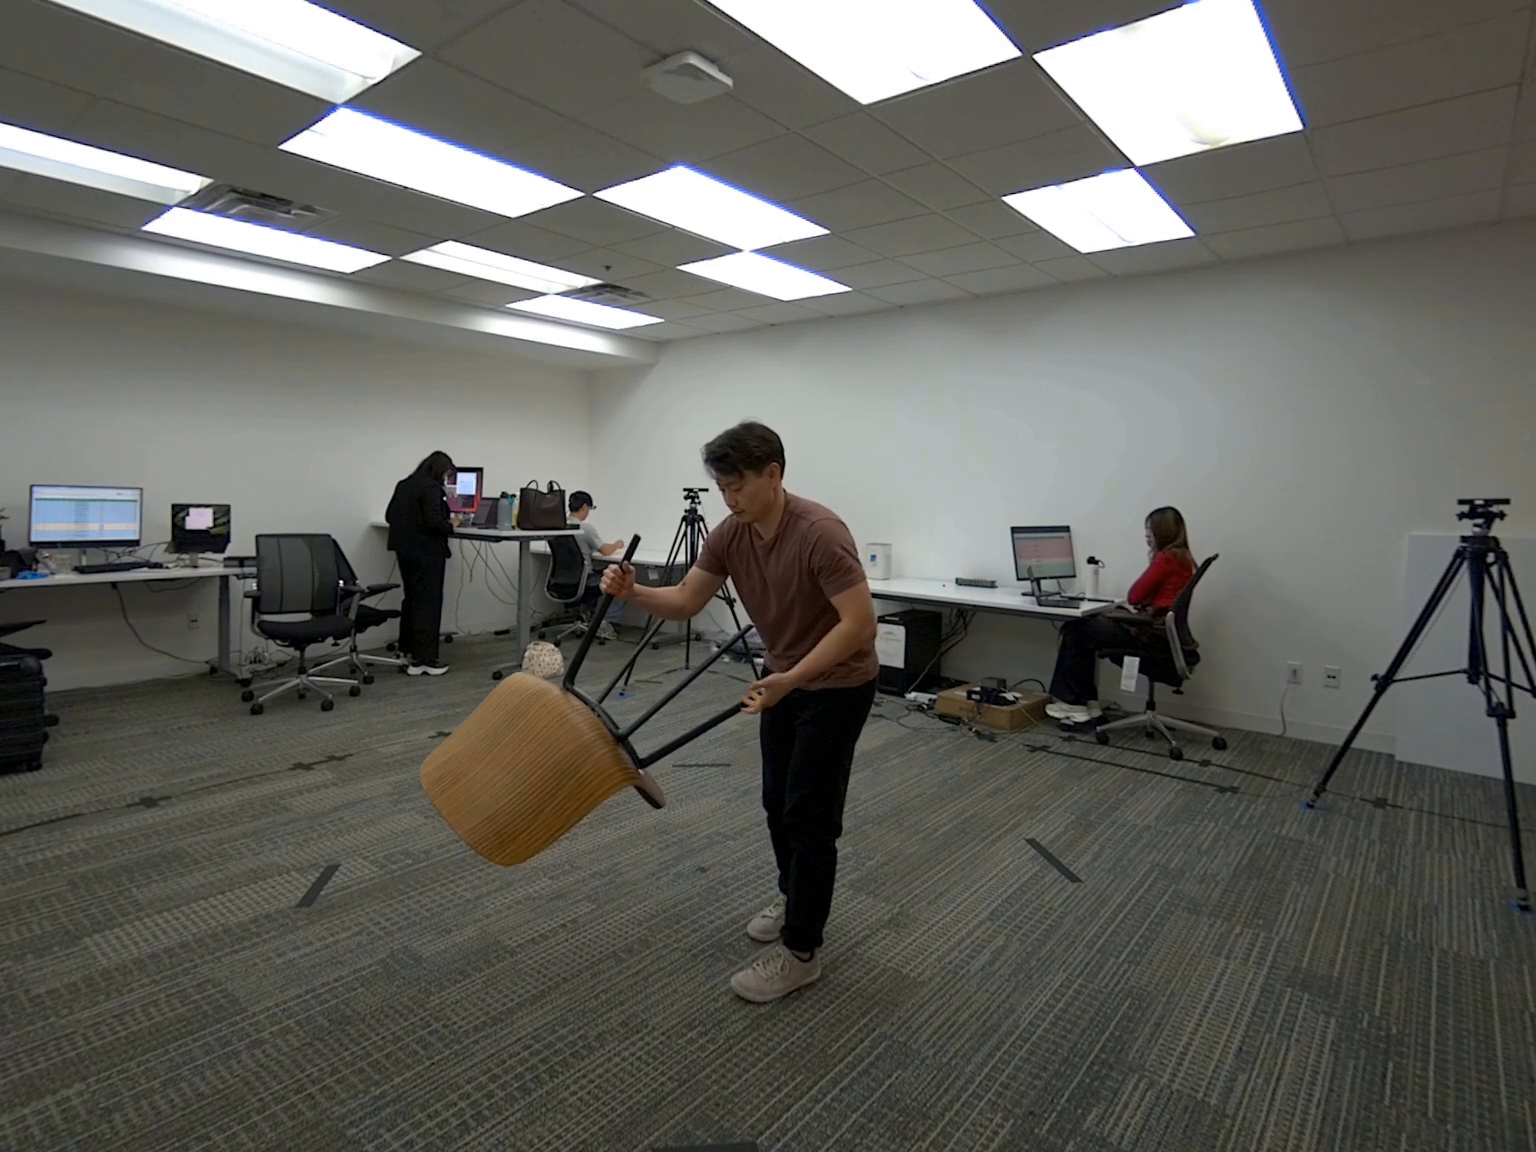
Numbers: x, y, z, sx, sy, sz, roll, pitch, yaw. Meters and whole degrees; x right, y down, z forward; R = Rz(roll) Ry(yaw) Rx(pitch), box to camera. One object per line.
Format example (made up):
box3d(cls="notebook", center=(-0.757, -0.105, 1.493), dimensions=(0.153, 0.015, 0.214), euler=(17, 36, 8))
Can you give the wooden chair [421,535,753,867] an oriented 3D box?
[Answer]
box3d(cls="wooden chair", center=(-0.459, 0.419, 2.357), dimensions=(0.495, 0.876, 0.506), euler=(35, -21, 26))
